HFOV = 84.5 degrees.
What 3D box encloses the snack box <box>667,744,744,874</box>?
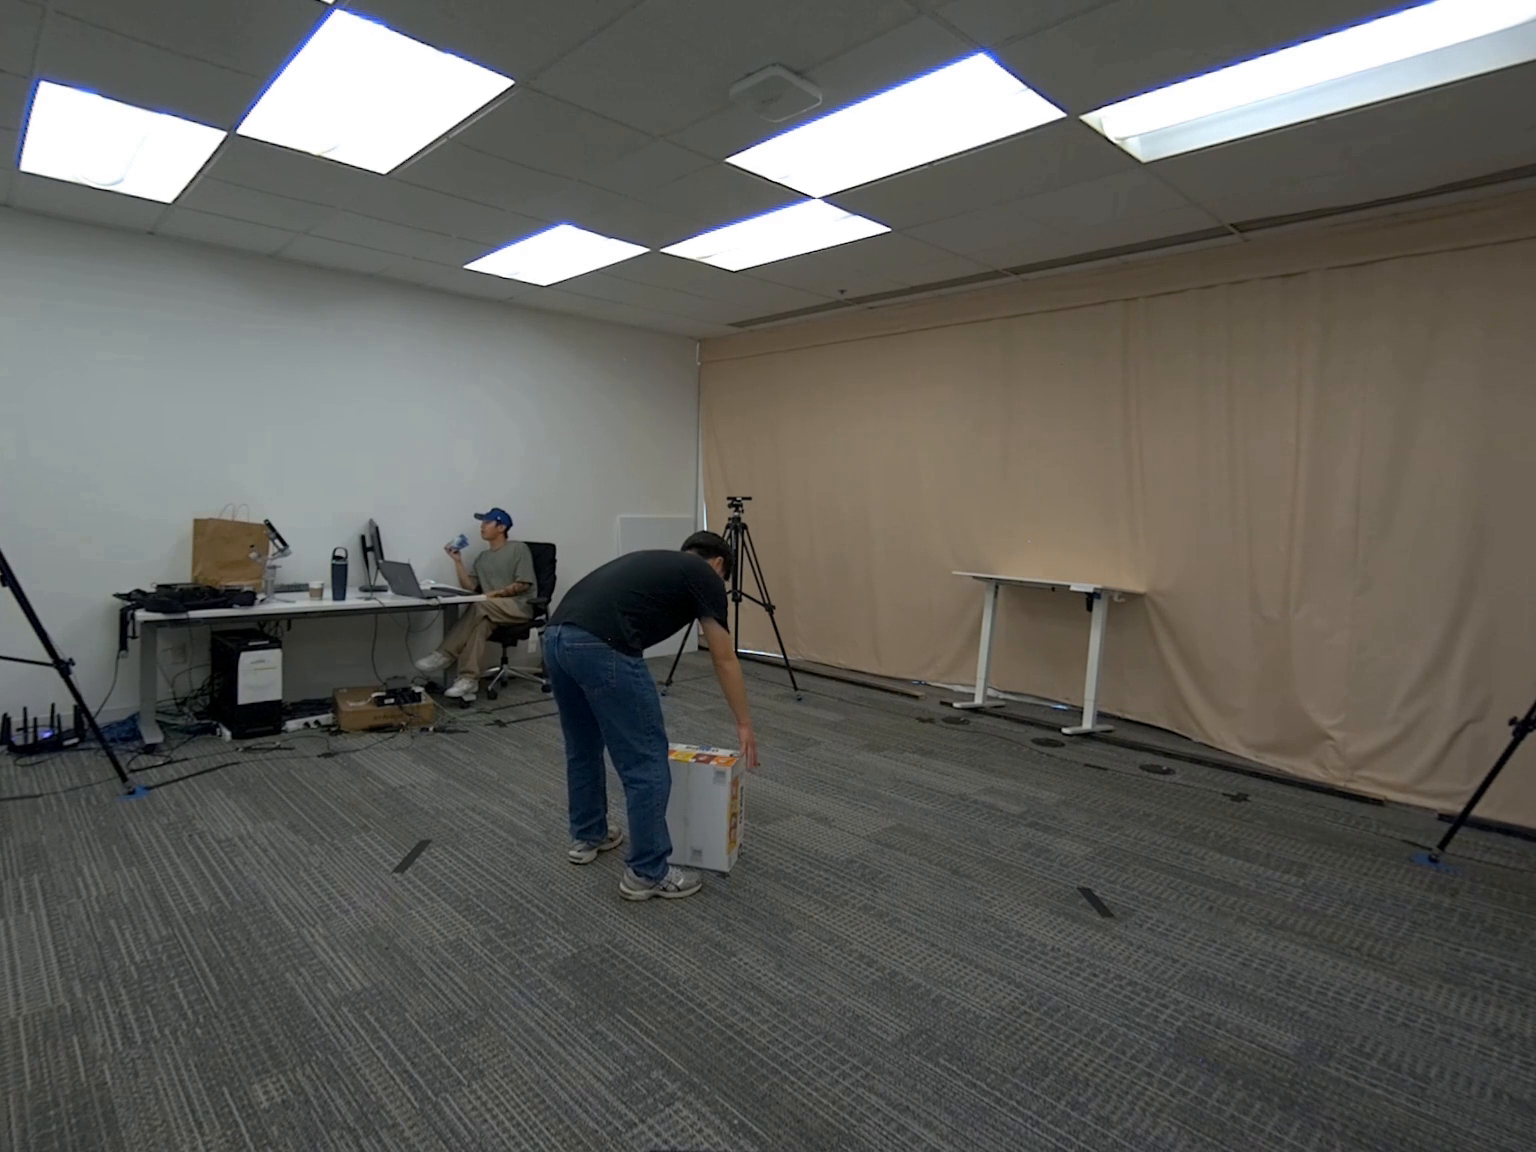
[{"bbox_3d":[-0.282,0.888,3.258,0.345,0.404,0.203,3,3,16],"label":"snack box"}]
